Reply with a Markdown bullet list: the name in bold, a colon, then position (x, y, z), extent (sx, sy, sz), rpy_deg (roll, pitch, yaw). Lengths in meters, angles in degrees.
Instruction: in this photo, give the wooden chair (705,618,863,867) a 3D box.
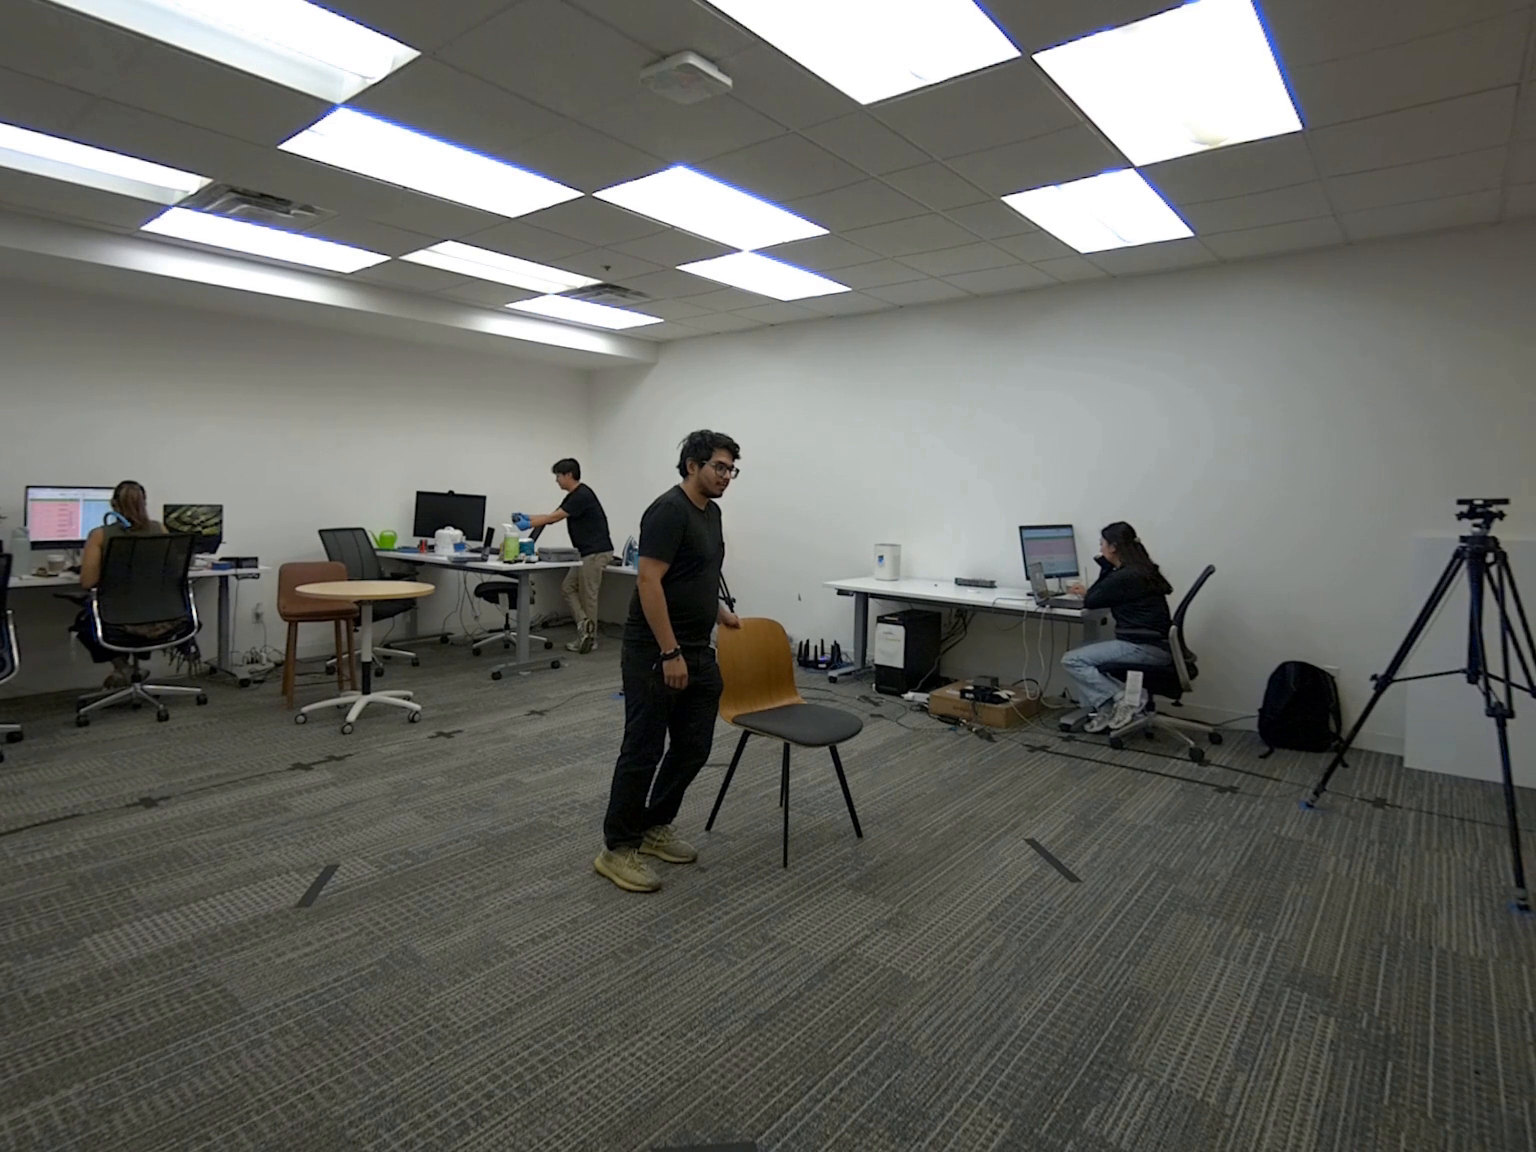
- **wooden chair**: position (0.074, 0.620, 3.415), extent (0.463, 0.877, 0.539), rpy_deg (-2, 1, -44)
